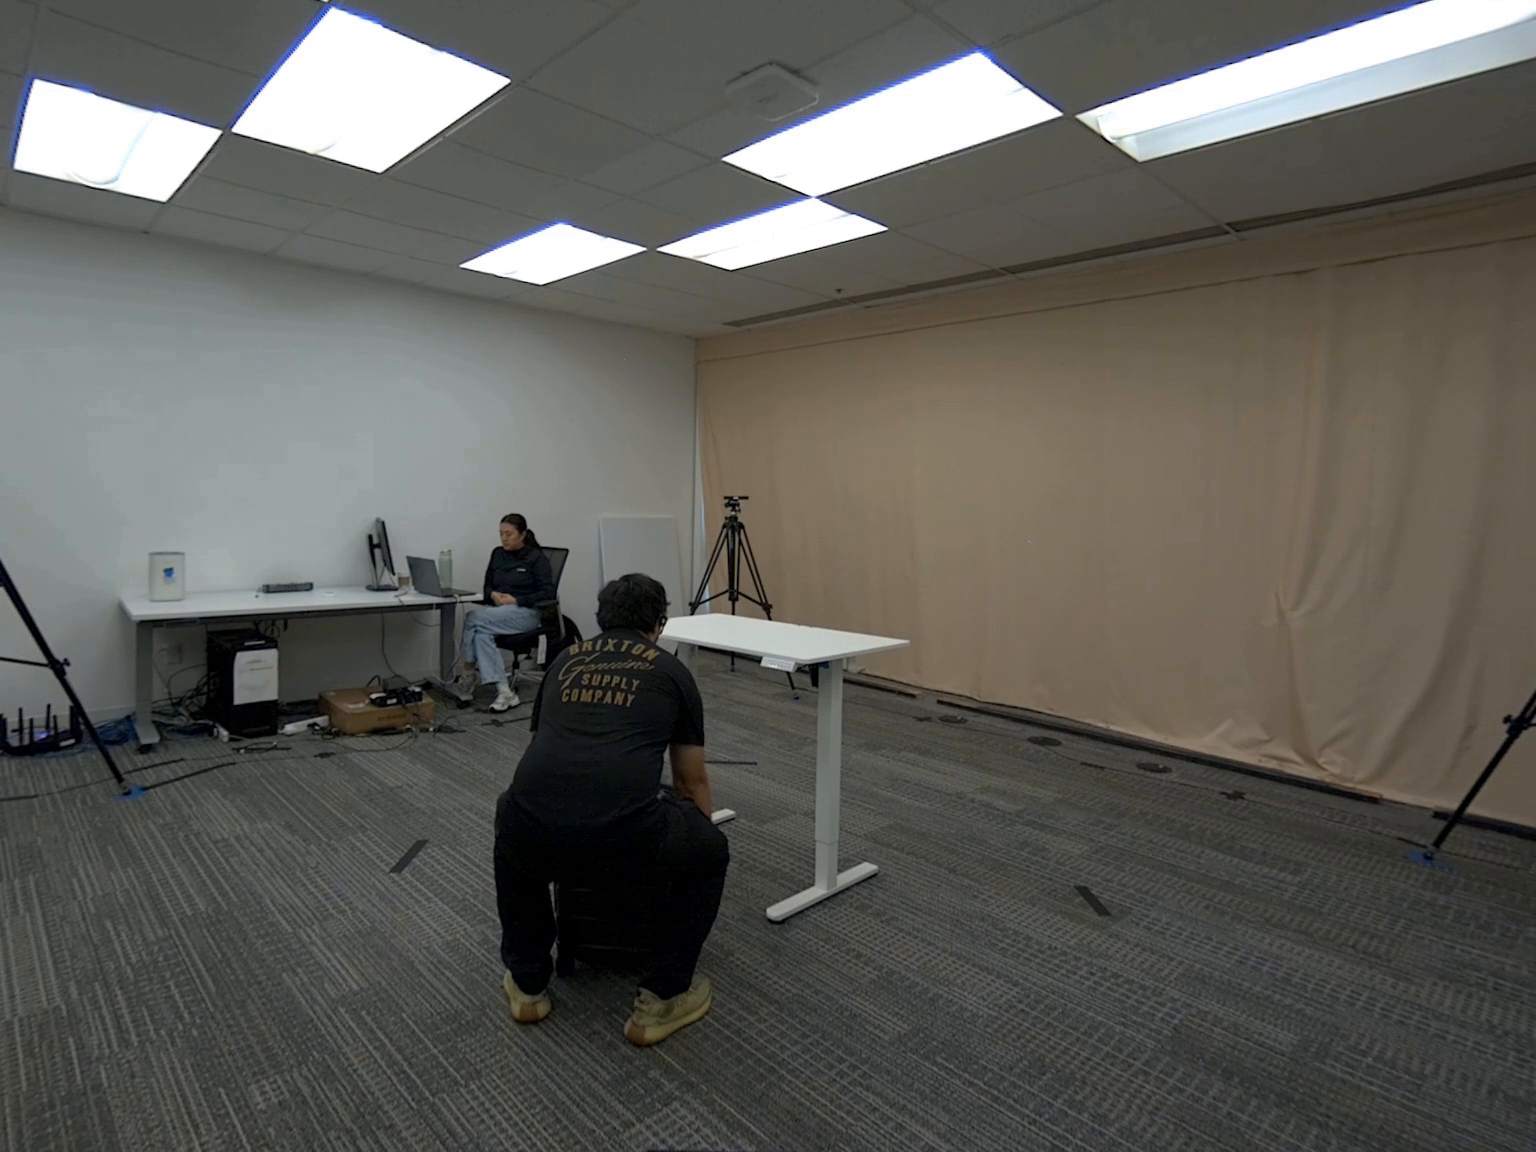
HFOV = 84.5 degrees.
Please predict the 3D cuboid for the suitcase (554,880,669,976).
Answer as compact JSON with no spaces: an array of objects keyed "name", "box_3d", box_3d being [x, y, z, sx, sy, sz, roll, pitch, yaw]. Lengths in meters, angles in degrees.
[{"name":"suitcase","box_3d":[-0.444,0.879,2.505,0.377,0.548,0.248,0,3,5]}]
